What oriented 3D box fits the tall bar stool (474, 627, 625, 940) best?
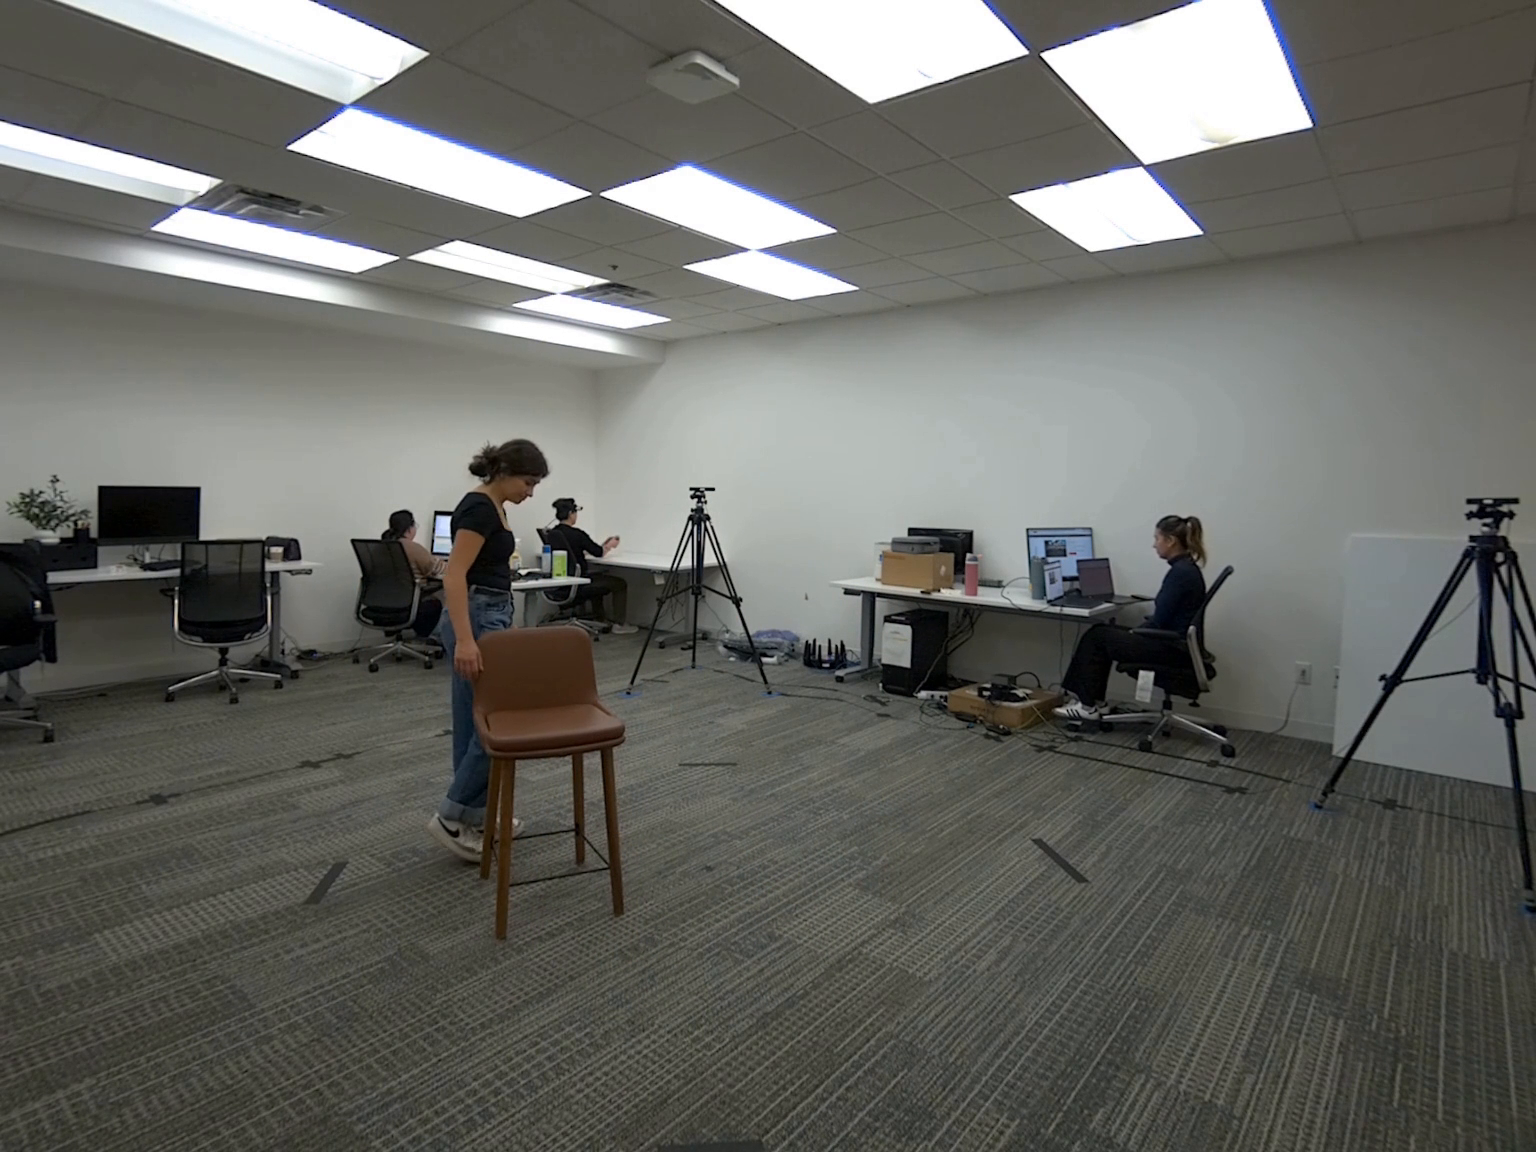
[{"bbox_3d":[-0.756,0.645,2.869,0.446,0.889,0.479,-1,2,-26],"label":"tall bar stool"}]
